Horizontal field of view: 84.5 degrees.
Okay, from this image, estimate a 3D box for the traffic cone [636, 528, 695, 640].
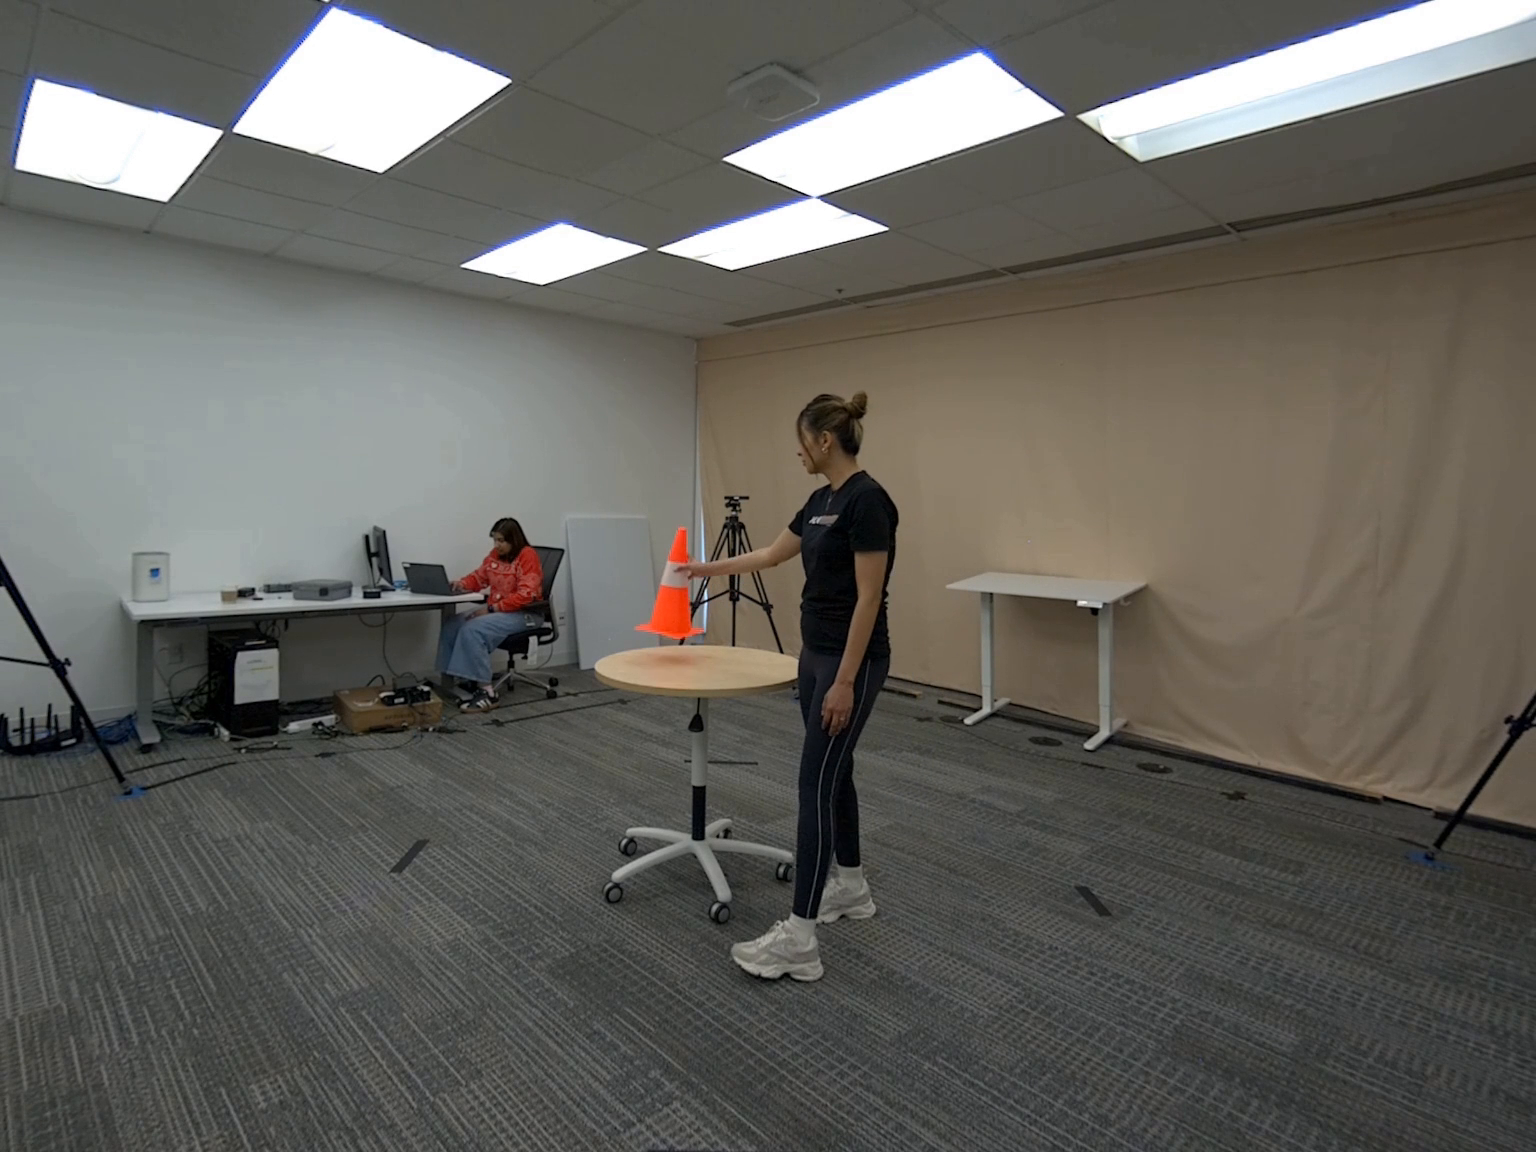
[{"bbox_3d":[-0.346,0.014,3.109,0.209,0.382,0.200,10,6,26],"label":"traffic cone"}]
